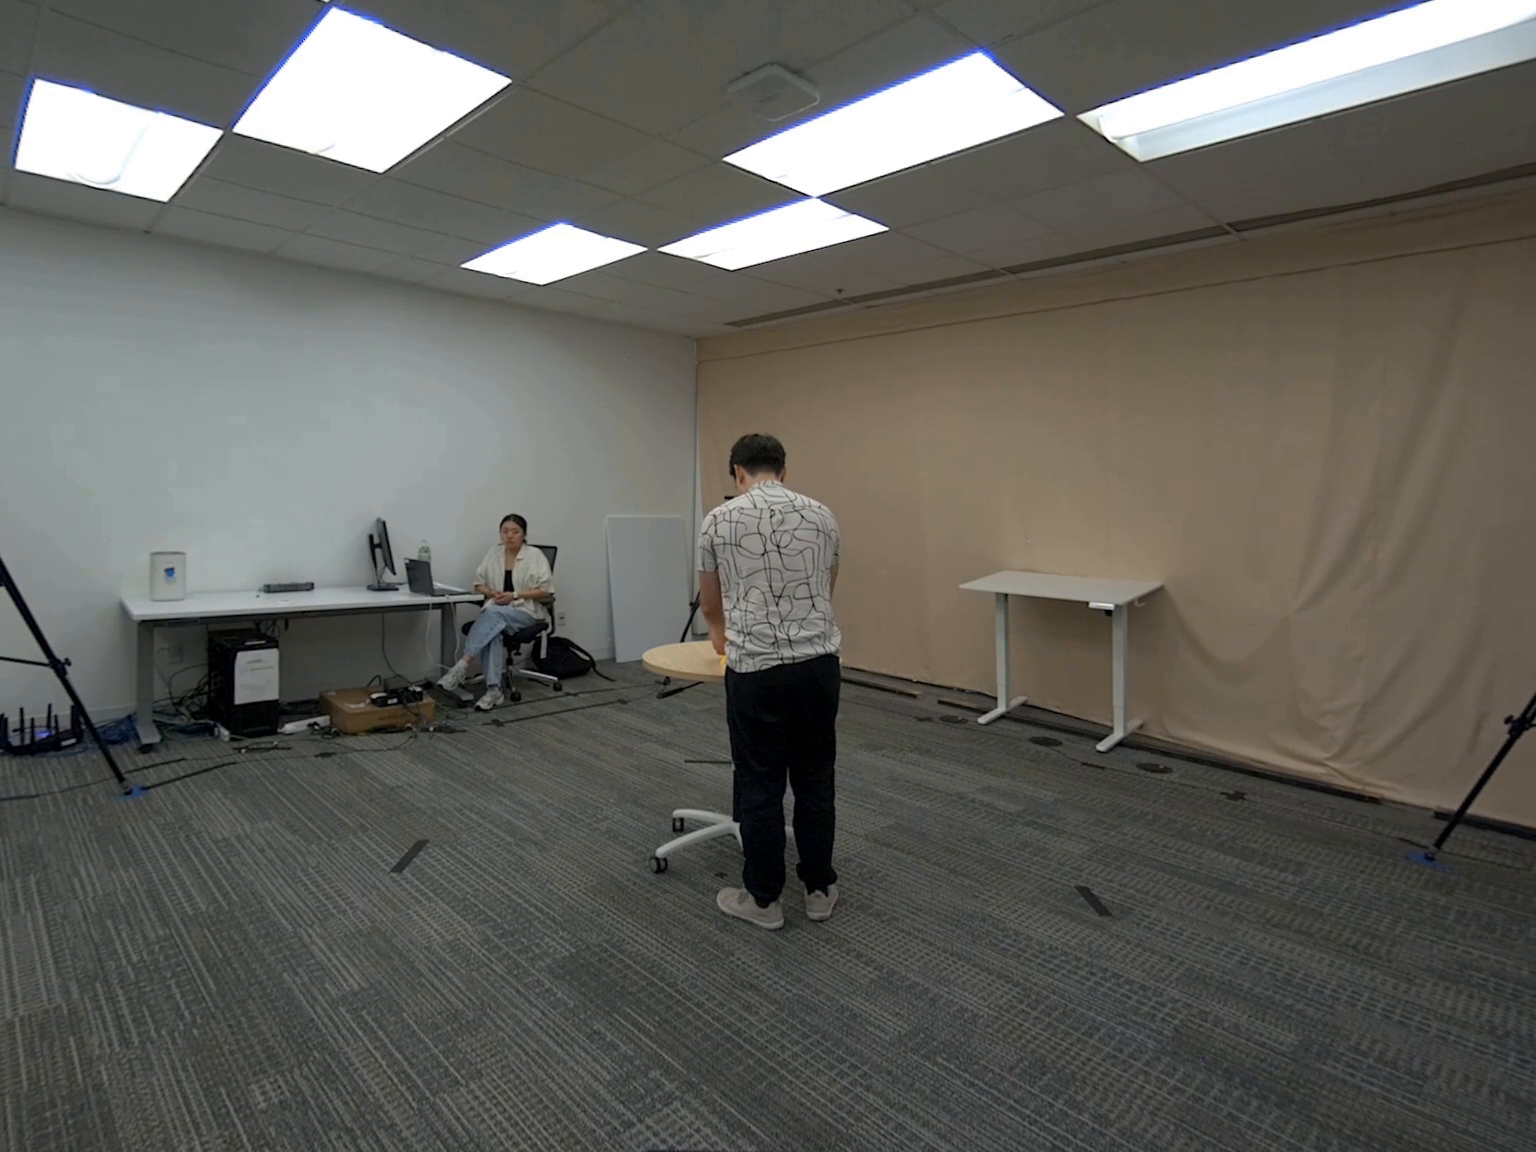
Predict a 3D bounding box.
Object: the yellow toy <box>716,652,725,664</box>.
[{"bbox_3d":[-0.079,0.202,3.148,0.193,0.230,0.205,4,4,1],"label":"yellow toy"}]
